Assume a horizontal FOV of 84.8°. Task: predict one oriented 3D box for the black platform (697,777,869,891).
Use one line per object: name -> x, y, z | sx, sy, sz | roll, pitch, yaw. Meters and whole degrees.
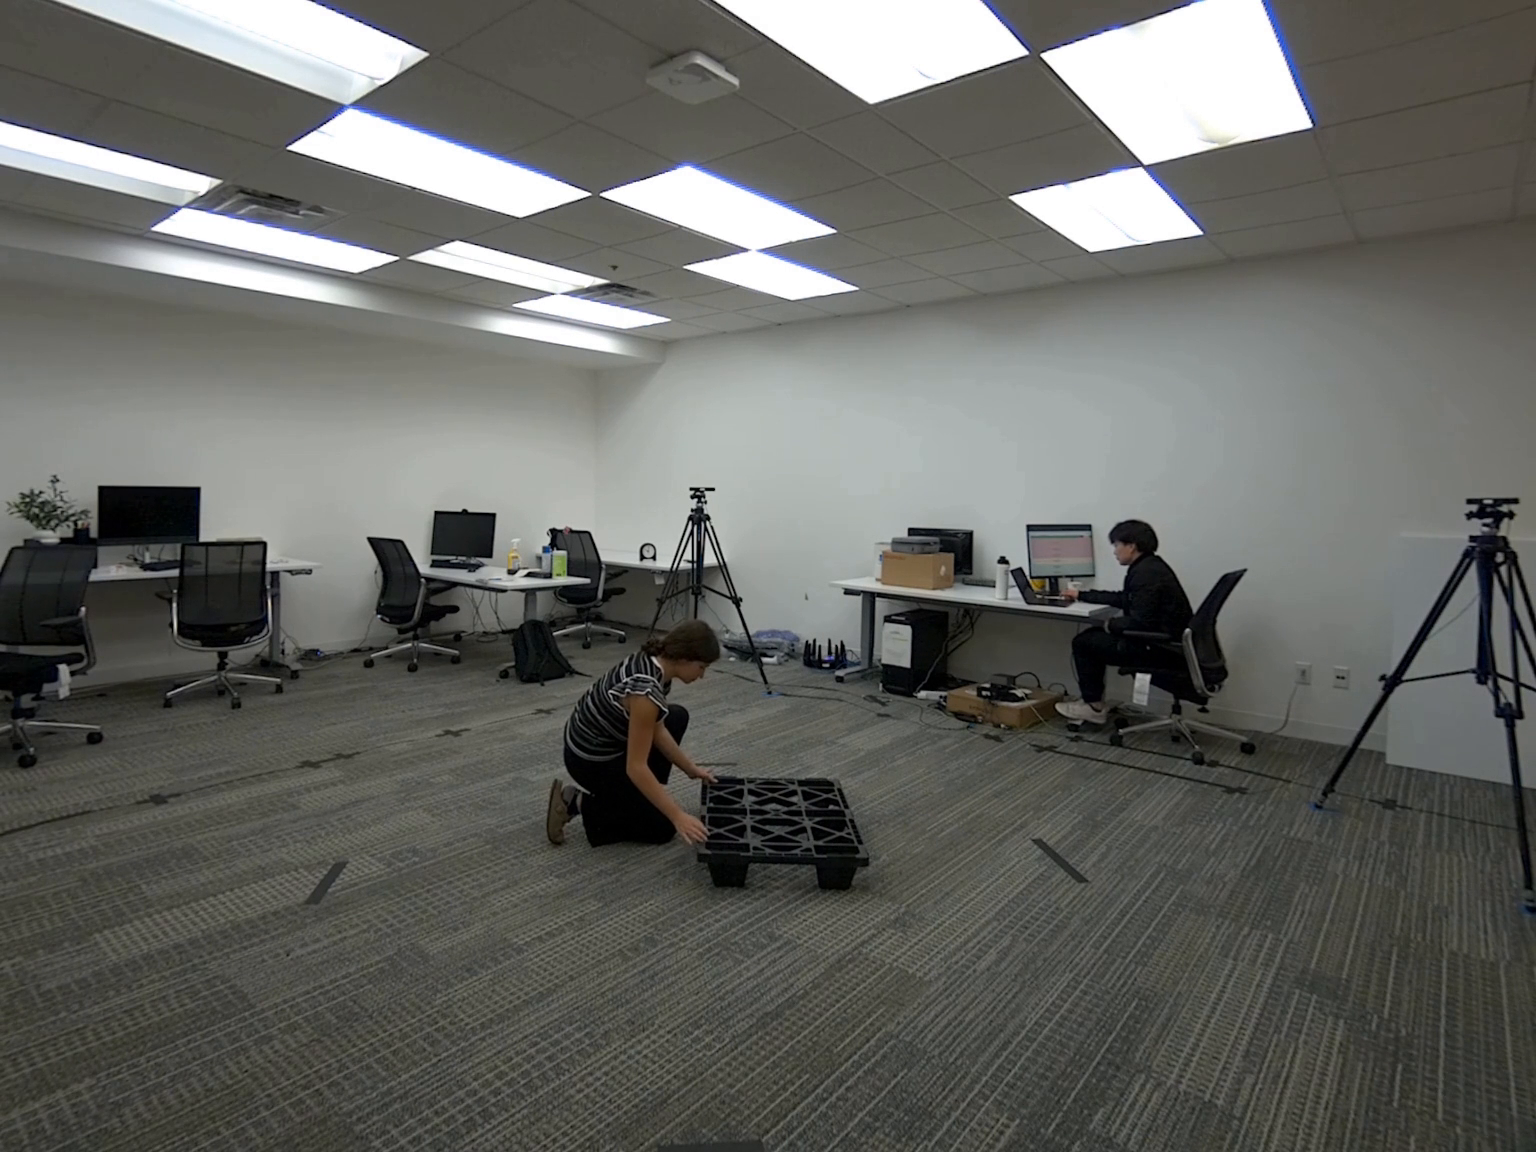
black platform -> 0.018, 0.983, 3.321 | 0.605, 0.143, 0.809 | 1, 6, -1
